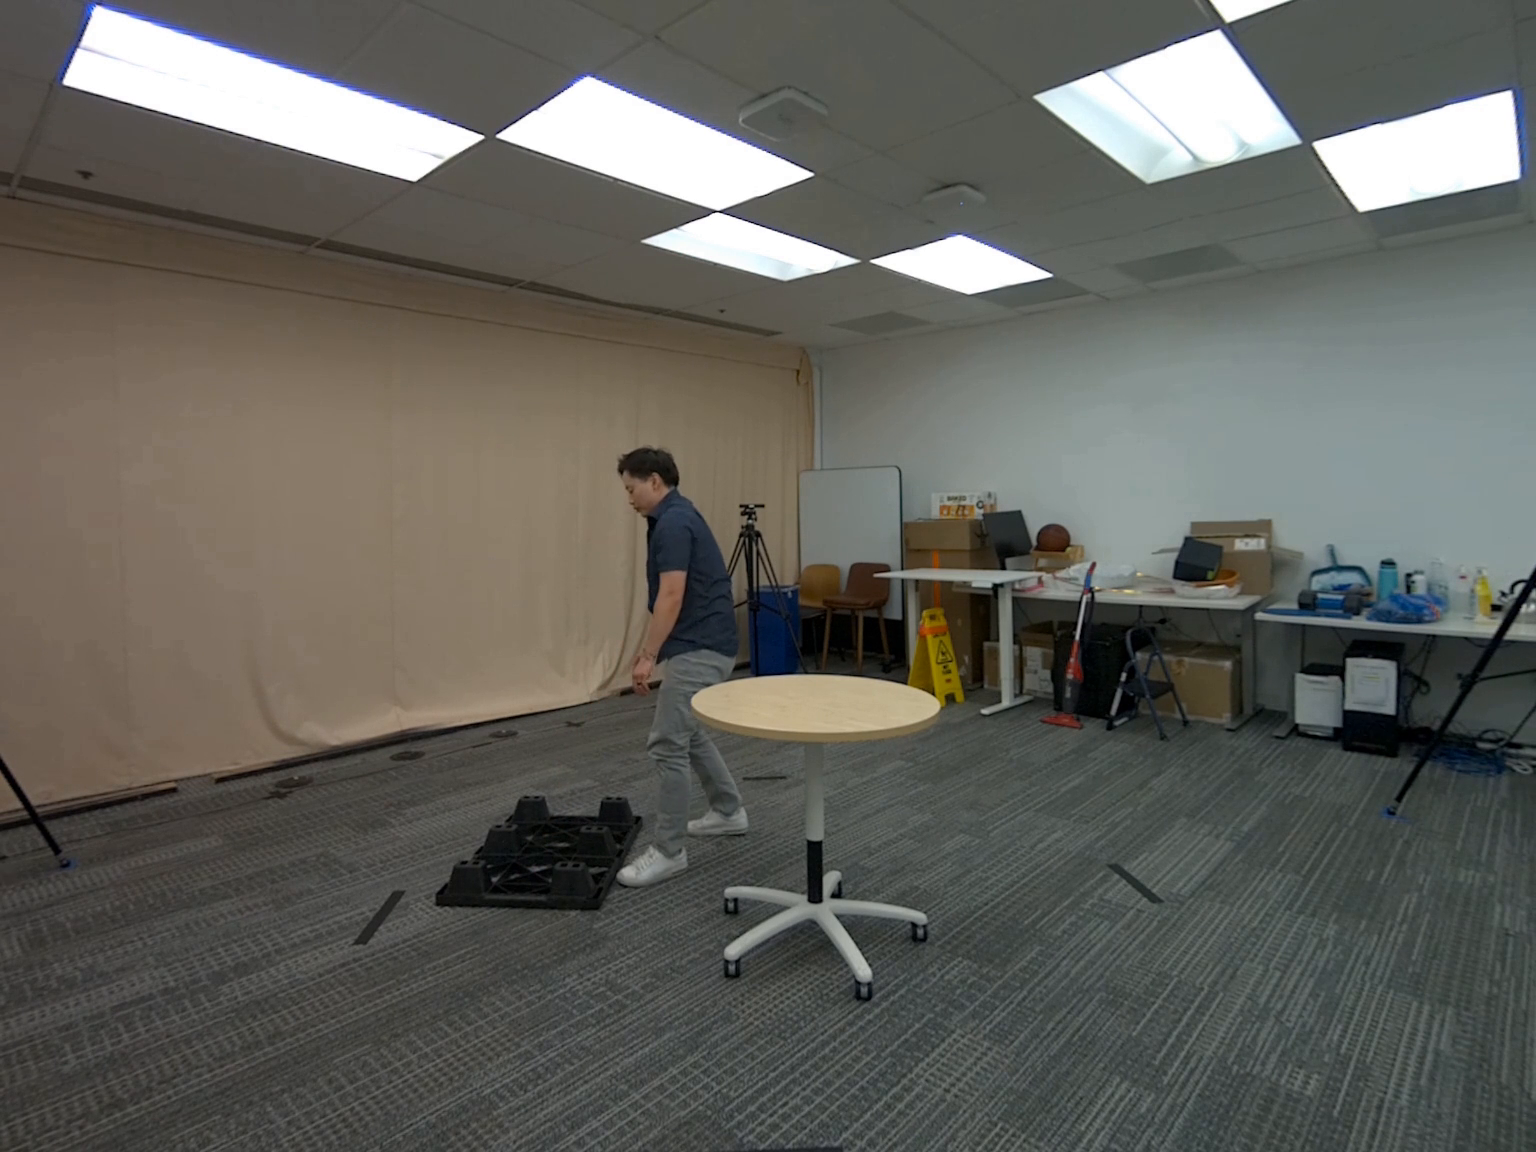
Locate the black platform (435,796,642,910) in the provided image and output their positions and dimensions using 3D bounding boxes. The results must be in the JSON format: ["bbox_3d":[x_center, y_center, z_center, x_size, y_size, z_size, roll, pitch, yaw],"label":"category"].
[{"bbox_3d":[-0.873,1.065,3.335,0.608,0.143,0.803,-1,4,4],"label":"black platform"}]
